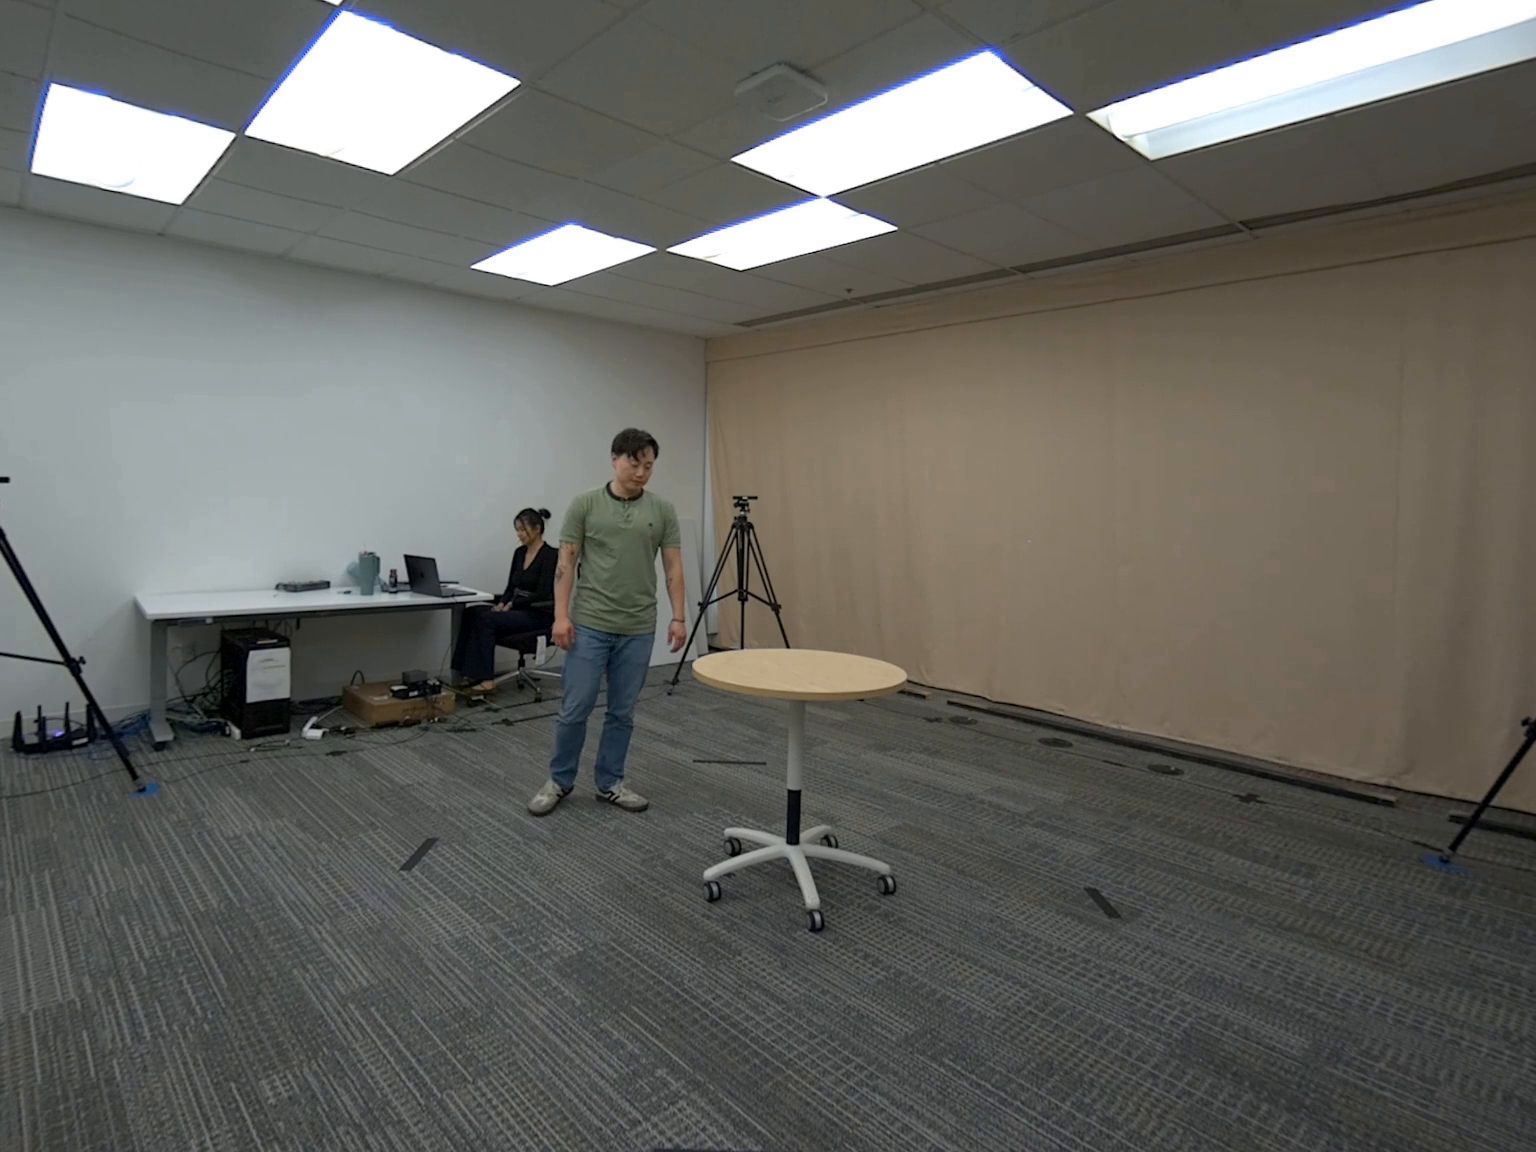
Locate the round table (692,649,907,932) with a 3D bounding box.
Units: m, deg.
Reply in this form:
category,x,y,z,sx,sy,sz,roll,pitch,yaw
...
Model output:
category,x,y,z,sx,sy,sz,roll,pitch,yaw
round table,0.088,0.726,3.043,0.763,0.792,0.766,2,4,-1
